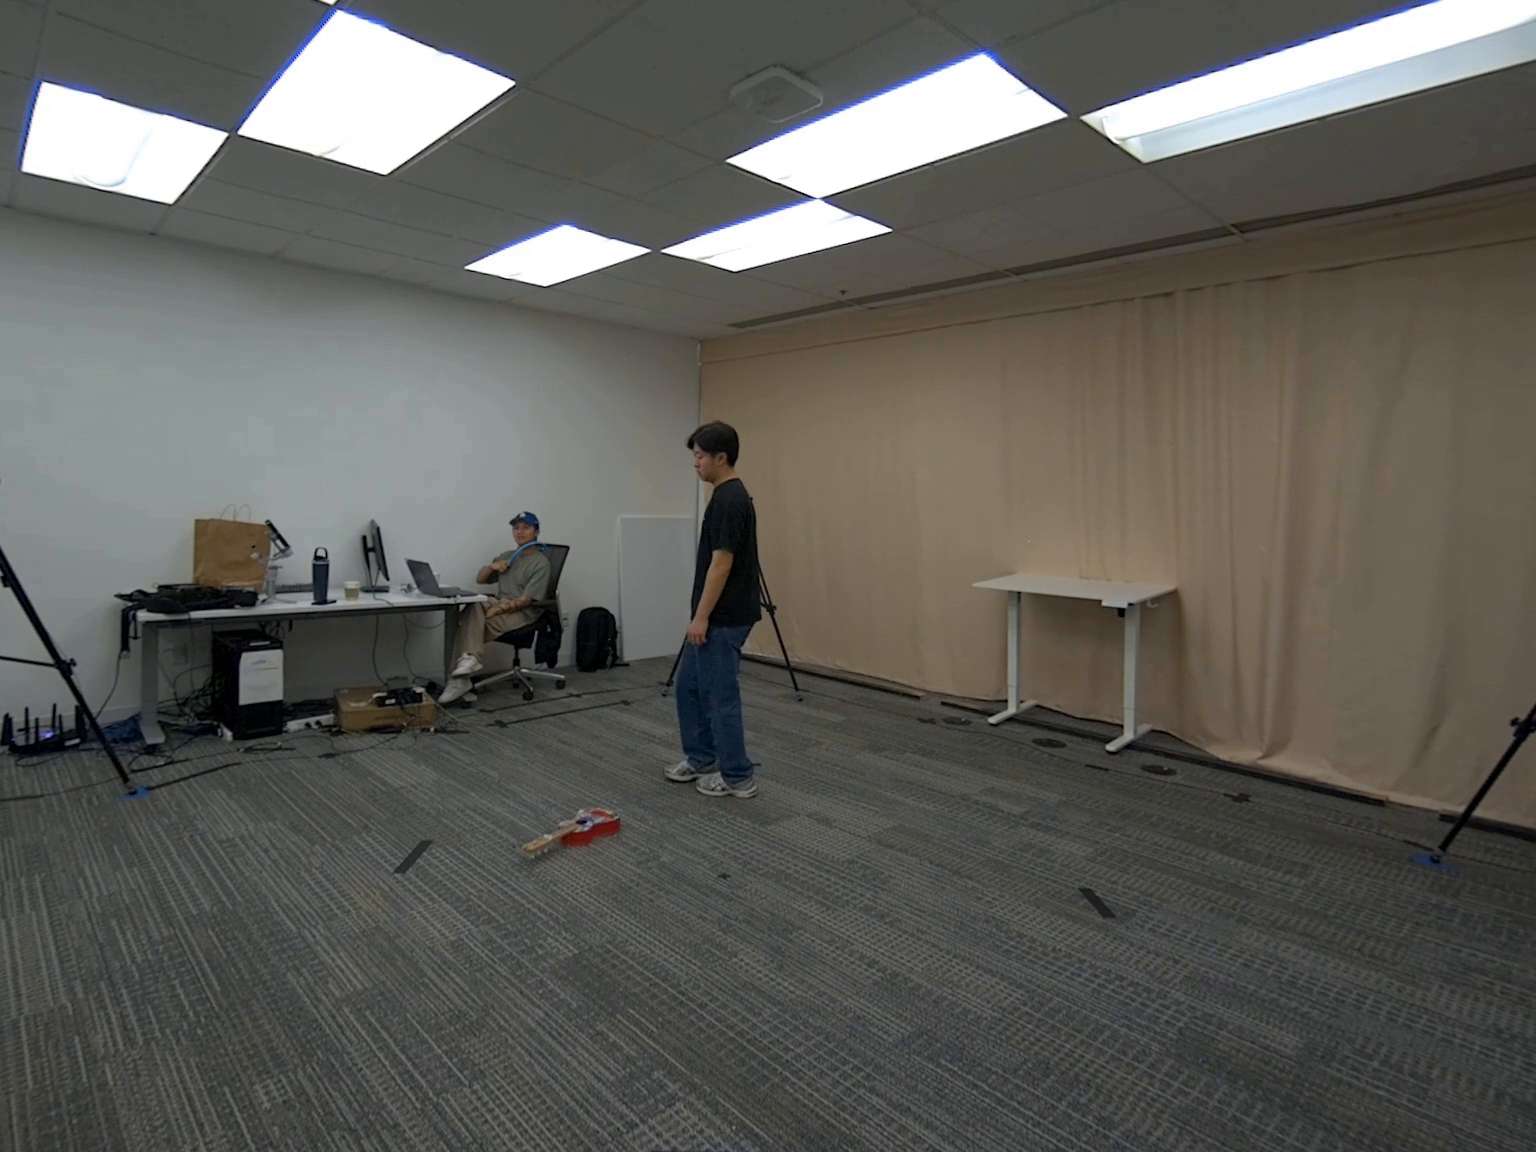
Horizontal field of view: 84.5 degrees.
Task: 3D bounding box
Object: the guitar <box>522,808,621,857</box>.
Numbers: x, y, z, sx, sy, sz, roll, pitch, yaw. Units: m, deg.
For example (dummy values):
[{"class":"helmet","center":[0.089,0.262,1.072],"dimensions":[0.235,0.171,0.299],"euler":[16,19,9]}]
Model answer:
[{"class":"guitar","center":[-0.827,1.033,3.386],"dimensions":[0.198,0.070,0.487],"euler":[5,6,37]}]
